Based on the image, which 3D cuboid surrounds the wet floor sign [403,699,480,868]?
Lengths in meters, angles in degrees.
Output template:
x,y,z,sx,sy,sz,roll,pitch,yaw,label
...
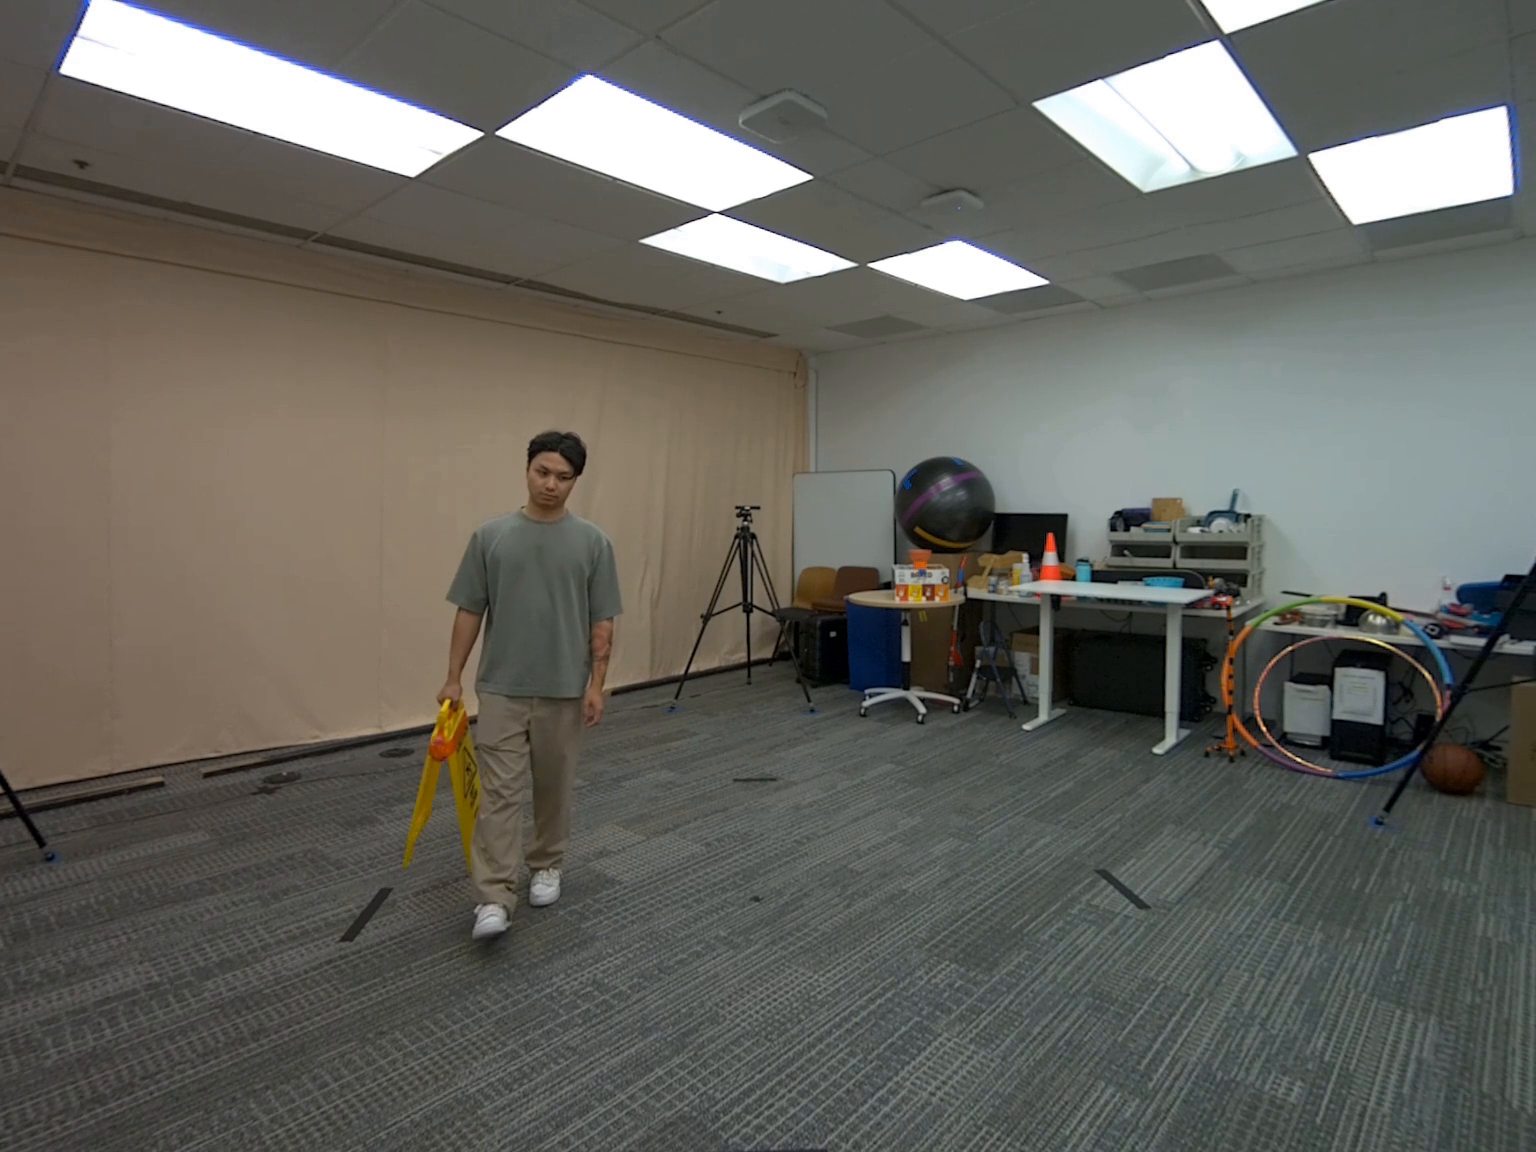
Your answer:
x,y,z,sx,sy,sz,roll,pitch,yaw,label
-1.143,0.713,3.009,0.288,0.640,0.286,7,20,-5,wet floor sign
